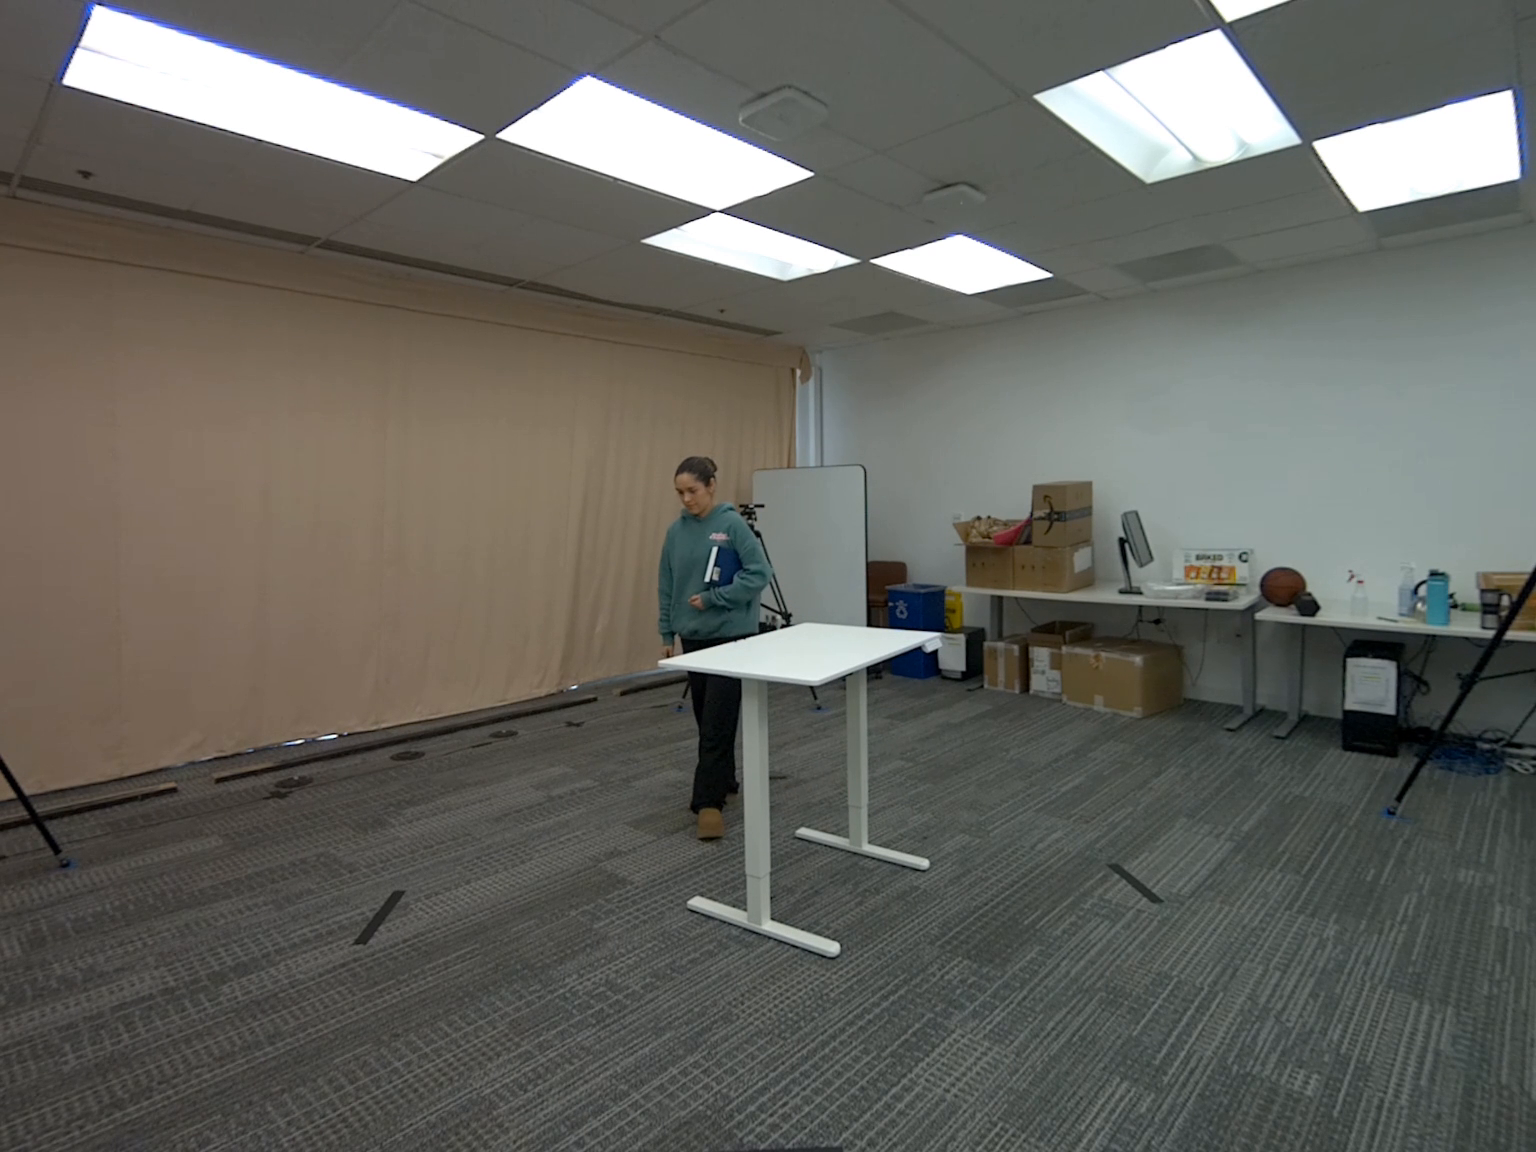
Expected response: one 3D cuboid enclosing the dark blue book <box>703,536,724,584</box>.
[{"bbox_3d":[-0.165,-0.029,3.657,0.236,0.164,0.047,19,-9,-40],"label":"dark blue book"}]
